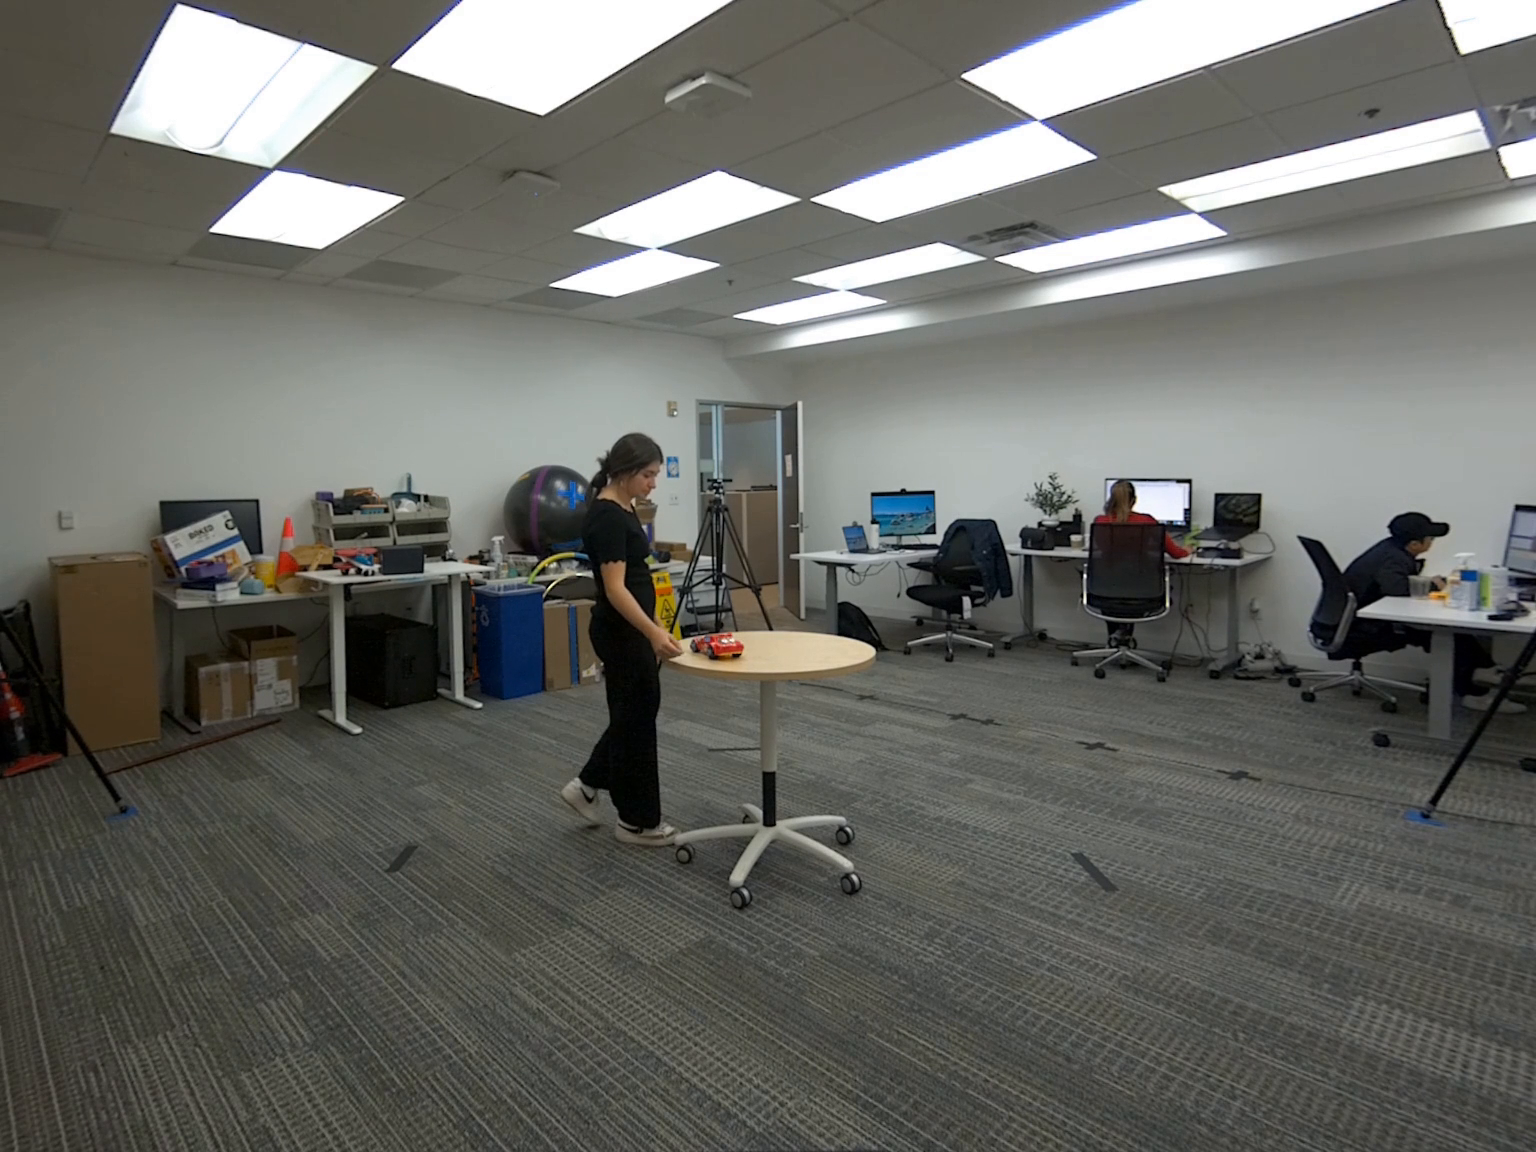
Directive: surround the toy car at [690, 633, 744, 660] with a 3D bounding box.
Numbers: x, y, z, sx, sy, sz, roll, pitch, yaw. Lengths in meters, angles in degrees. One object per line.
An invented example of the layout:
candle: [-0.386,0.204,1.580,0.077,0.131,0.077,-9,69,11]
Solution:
toy car: [-0.167,0.245,2.964,0.127,0.084,0.259,-2,-5,-27]
